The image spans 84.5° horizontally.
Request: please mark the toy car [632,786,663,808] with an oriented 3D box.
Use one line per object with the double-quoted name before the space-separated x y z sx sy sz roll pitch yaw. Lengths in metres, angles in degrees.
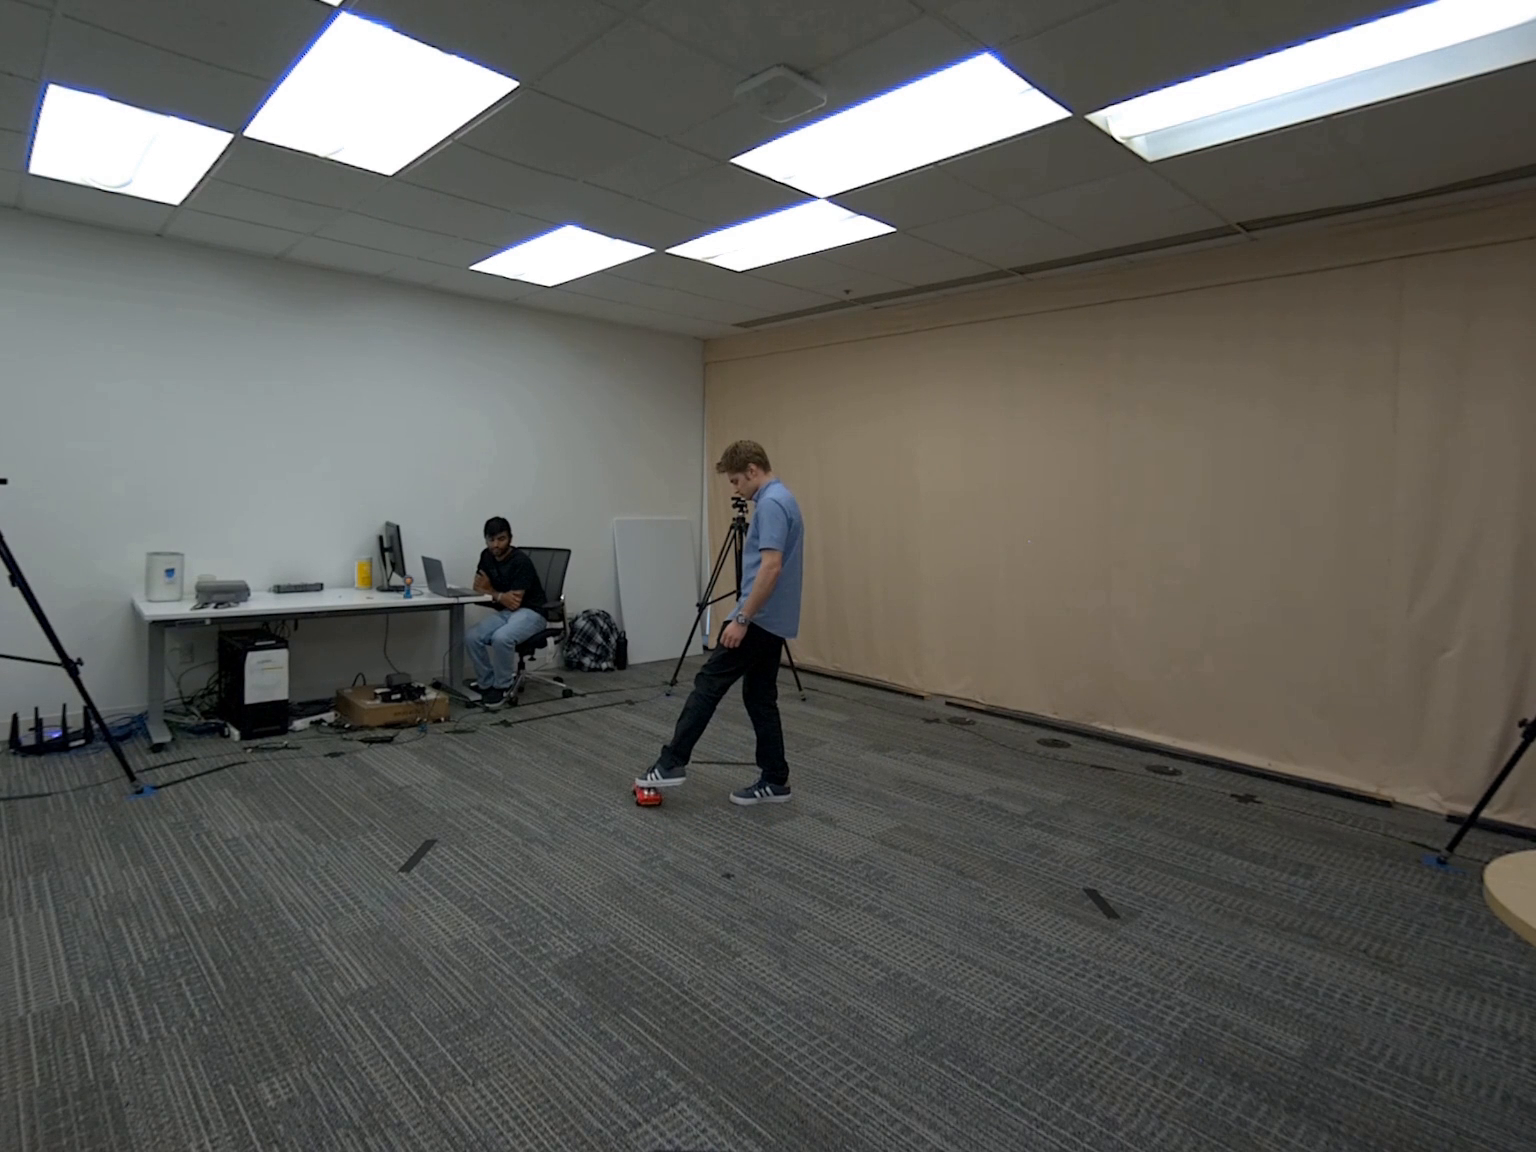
"toy car" -0.566 1.002 3.872 0.129 0.083 0.256 2 -6 -13
